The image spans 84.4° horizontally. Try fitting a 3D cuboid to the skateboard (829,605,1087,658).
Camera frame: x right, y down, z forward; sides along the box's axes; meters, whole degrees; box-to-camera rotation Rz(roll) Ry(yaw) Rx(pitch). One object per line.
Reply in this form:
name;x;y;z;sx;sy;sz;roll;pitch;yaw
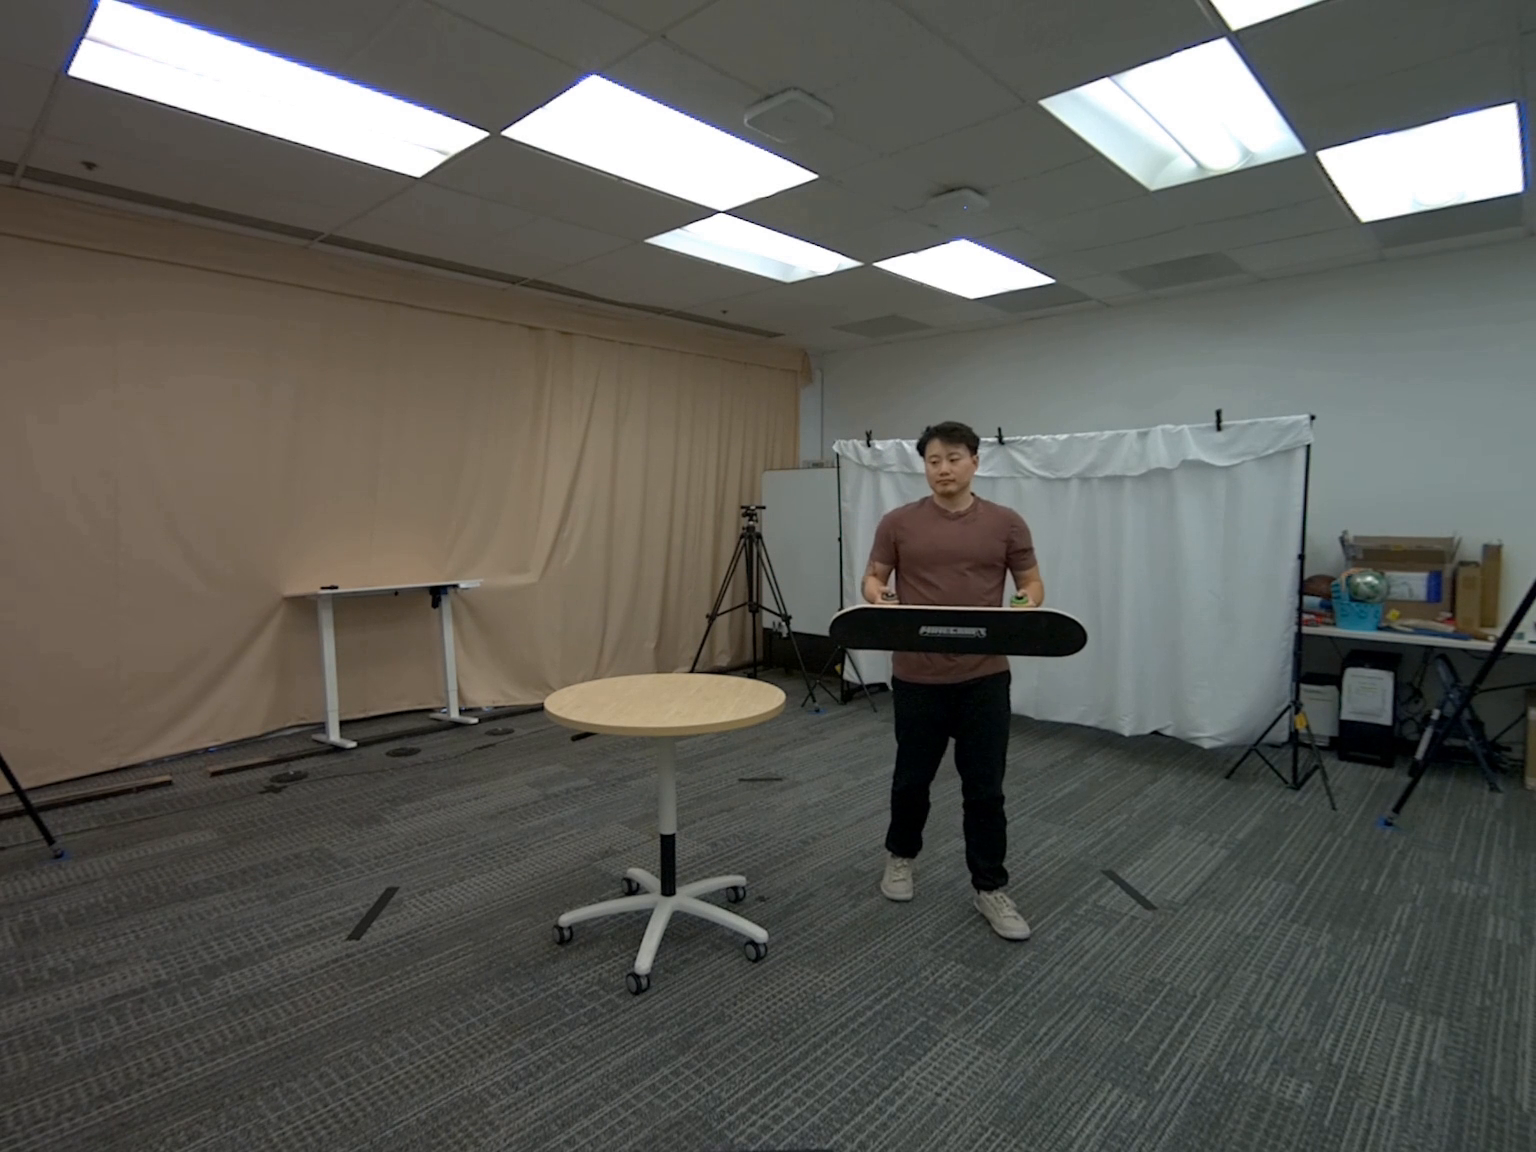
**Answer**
skateboard;0.588;0.162;2.702;0.797;0.189;0.111;1;35;13
